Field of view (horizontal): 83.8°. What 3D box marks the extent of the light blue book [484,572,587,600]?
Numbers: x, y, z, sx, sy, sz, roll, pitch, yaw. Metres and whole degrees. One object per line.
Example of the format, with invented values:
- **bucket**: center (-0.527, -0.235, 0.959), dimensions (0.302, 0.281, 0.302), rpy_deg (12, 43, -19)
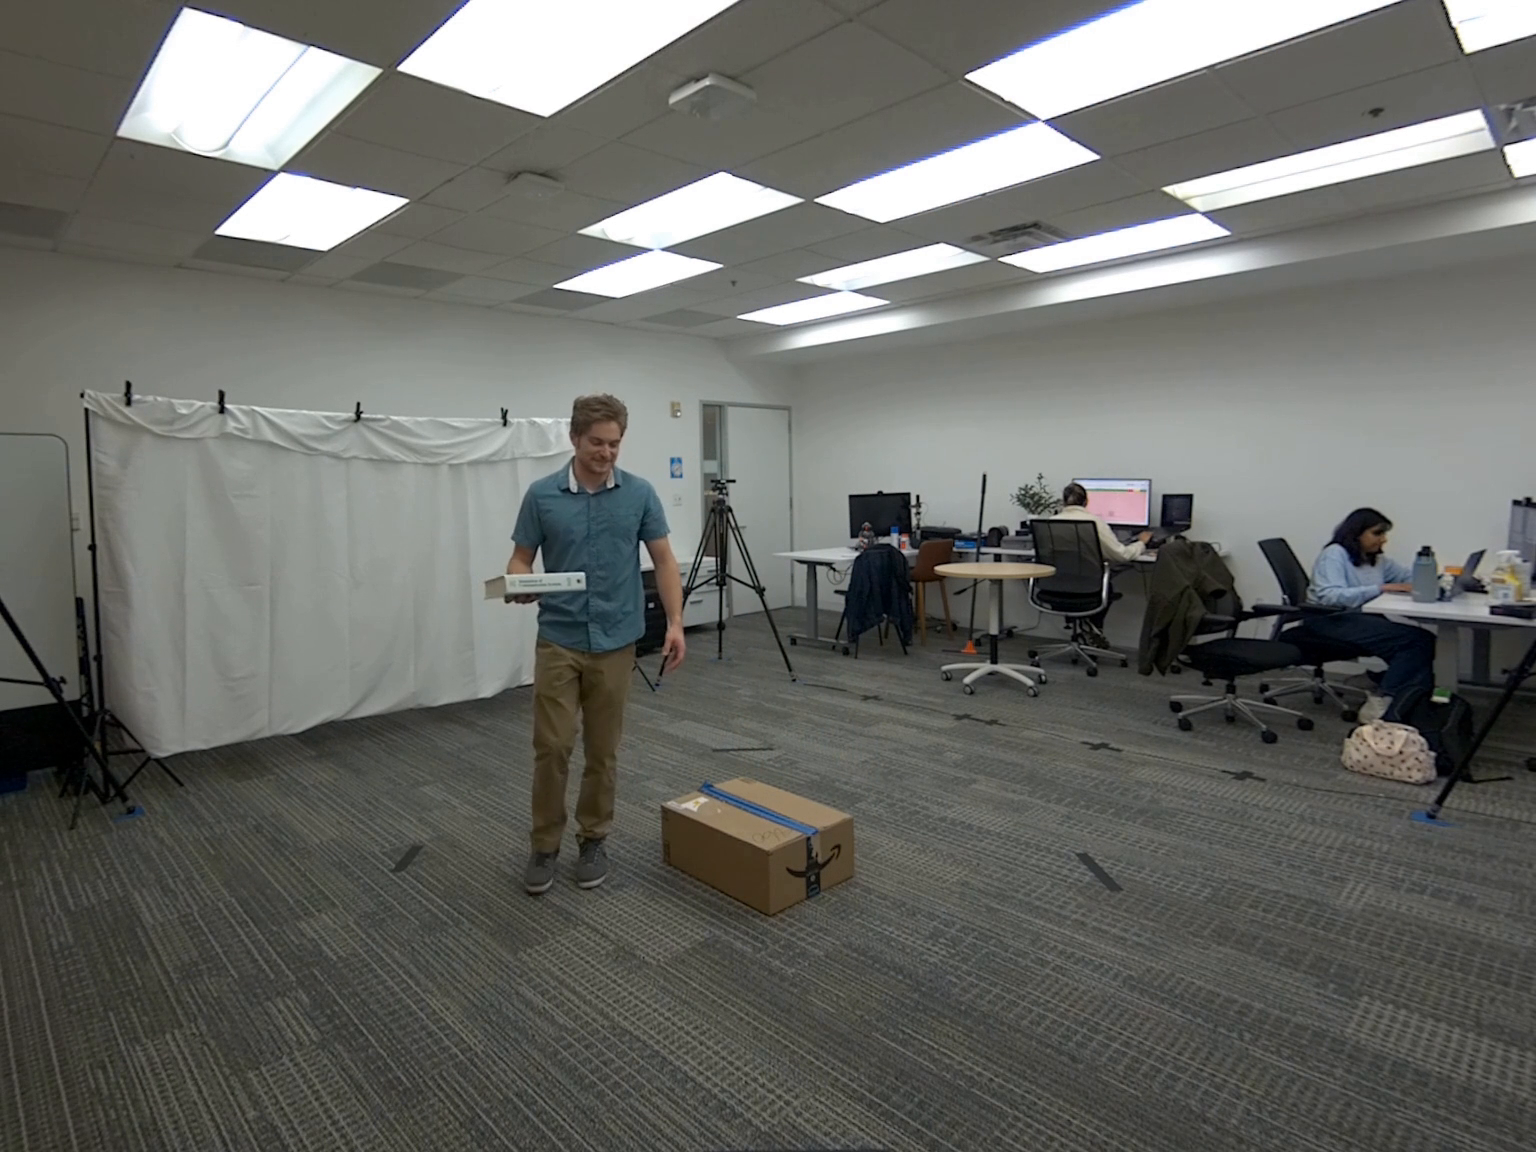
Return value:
- **light blue book**: center (-0.722, 0.032, 2.664), dimensions (0.254, 0.059, 0.195), rpy_deg (-3, -5, -36)
